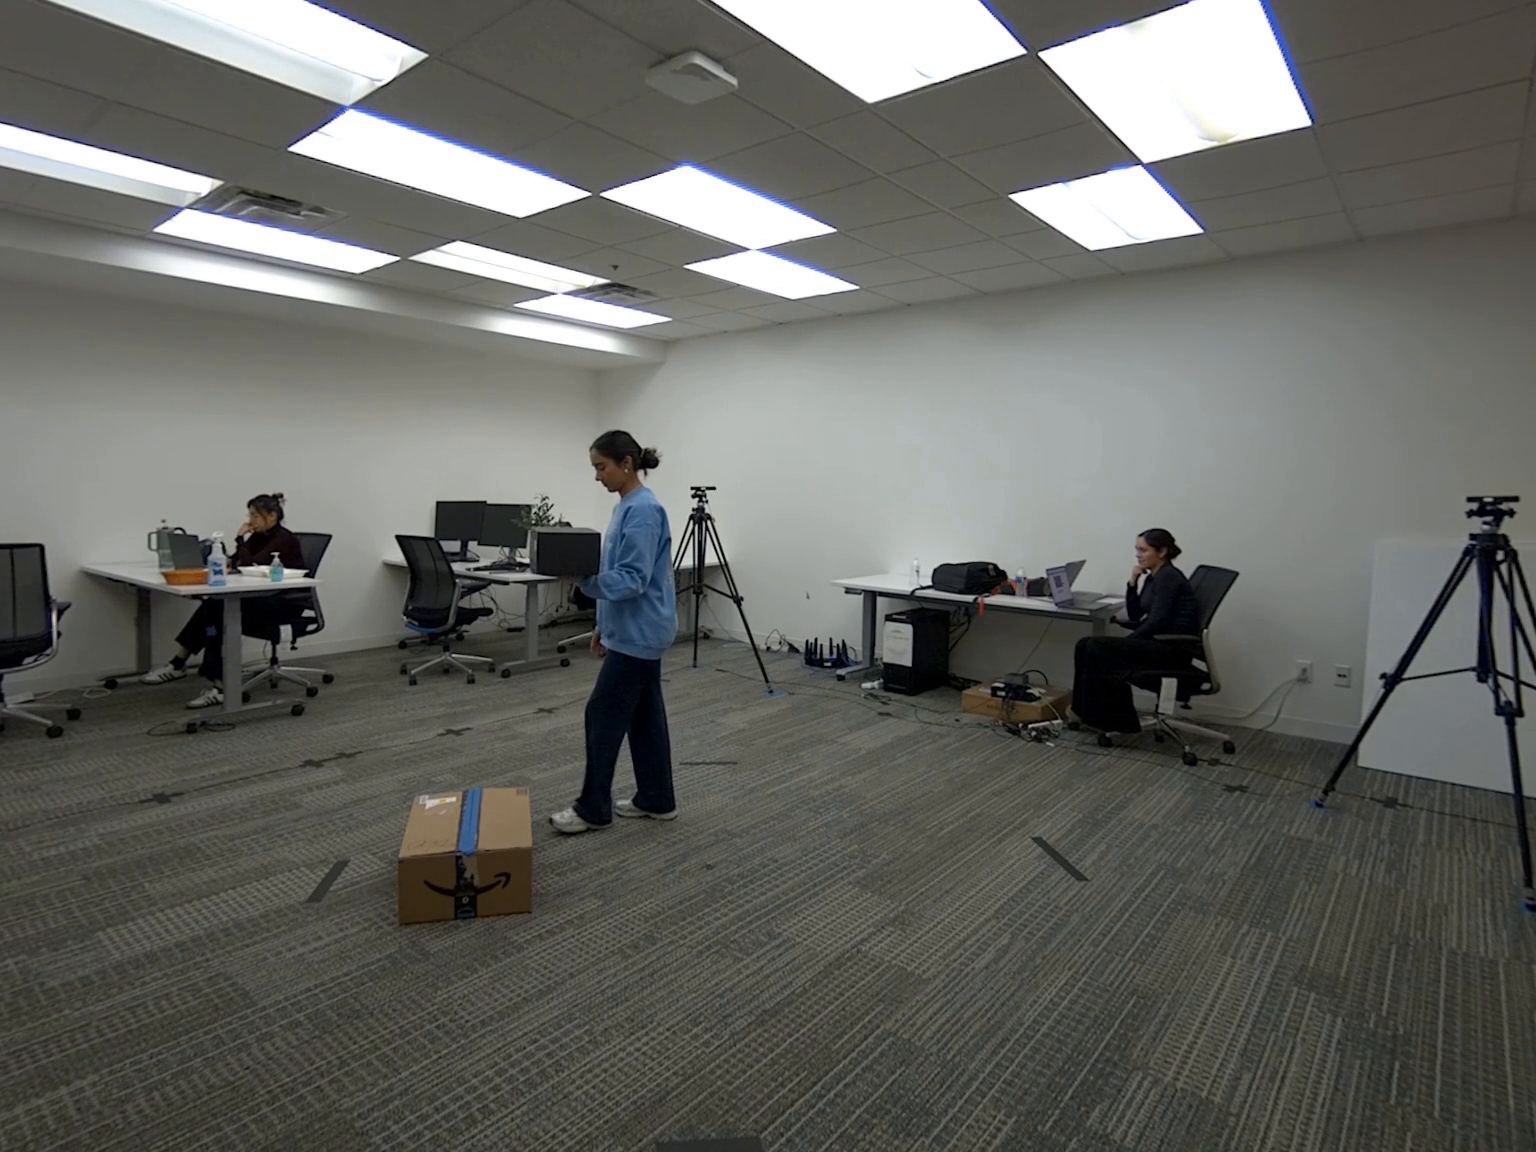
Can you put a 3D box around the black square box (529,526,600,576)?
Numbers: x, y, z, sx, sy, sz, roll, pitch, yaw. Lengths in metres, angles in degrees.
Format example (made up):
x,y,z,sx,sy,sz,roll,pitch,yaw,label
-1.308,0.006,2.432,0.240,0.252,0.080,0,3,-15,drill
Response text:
x,y,z,sx,sy,sz,roll,pitch,yaw,label
-0.766,-0.099,3.148,0.223,0.155,0.222,2,5,-19,black square box
